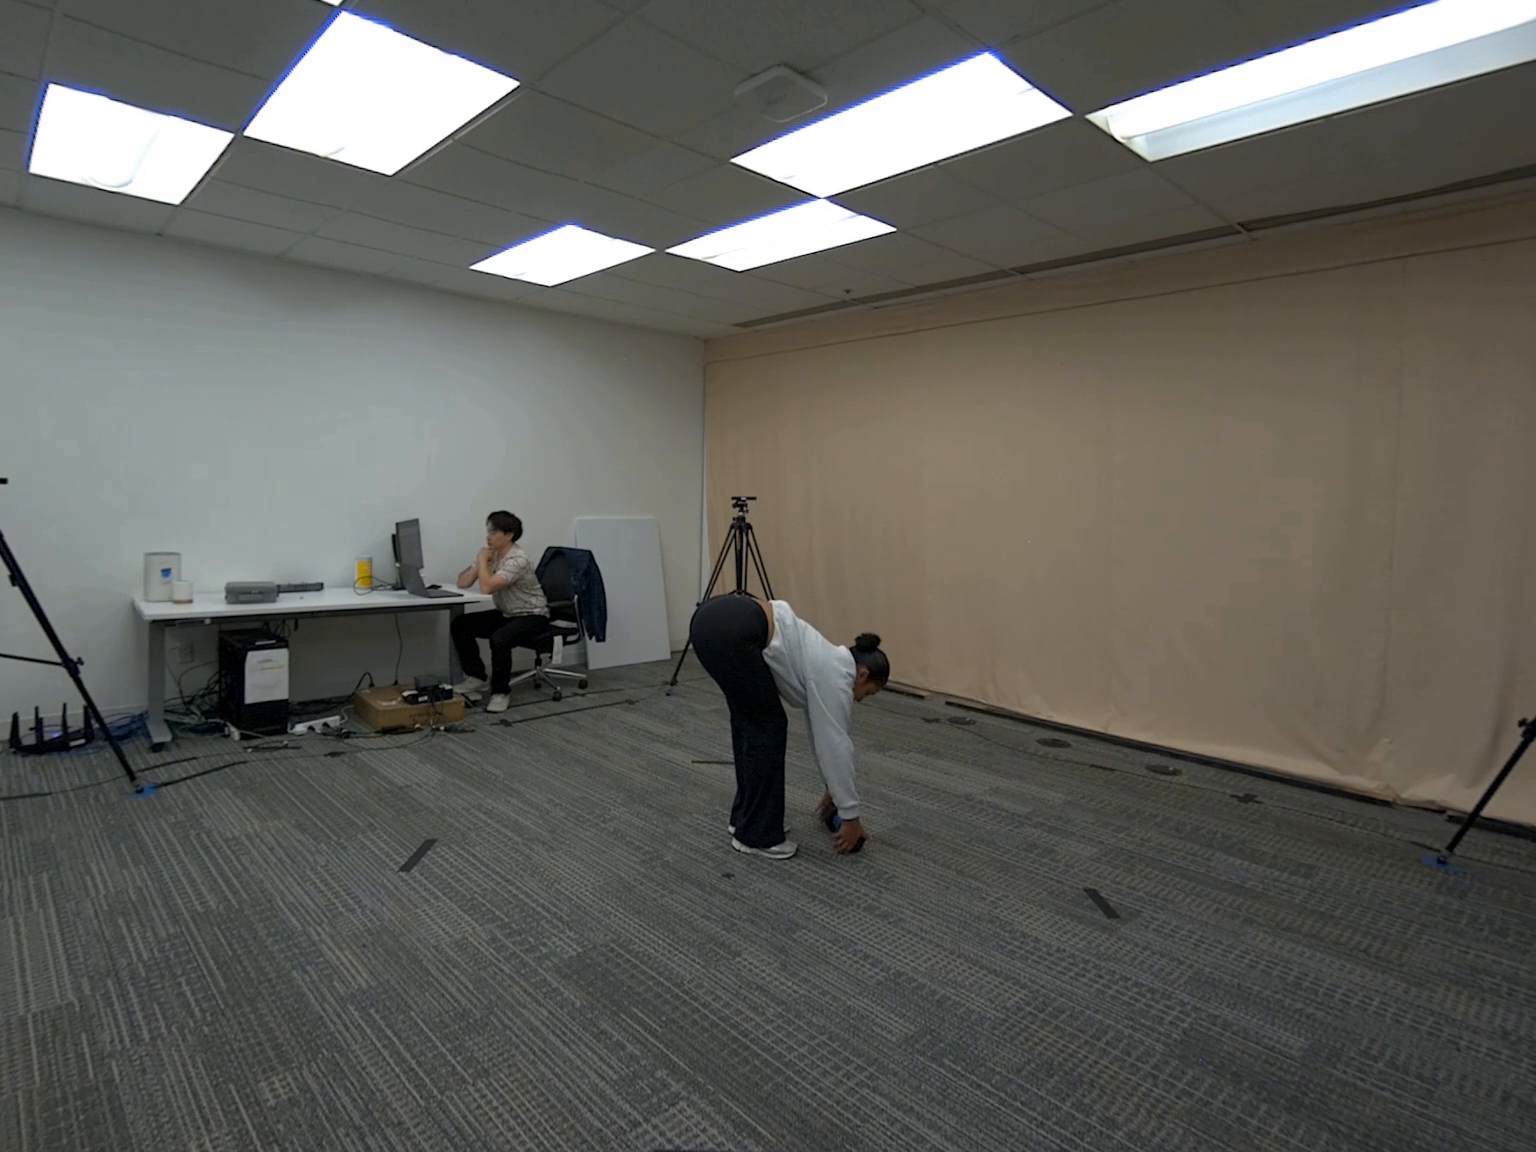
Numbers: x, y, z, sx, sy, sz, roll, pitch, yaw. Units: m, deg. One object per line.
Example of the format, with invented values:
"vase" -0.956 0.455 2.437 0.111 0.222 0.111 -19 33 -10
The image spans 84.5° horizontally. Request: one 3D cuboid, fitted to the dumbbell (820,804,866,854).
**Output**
"dumbbell" 0.289 1.032 3.471 0.108 0.122 0.296 -28 8 -6
